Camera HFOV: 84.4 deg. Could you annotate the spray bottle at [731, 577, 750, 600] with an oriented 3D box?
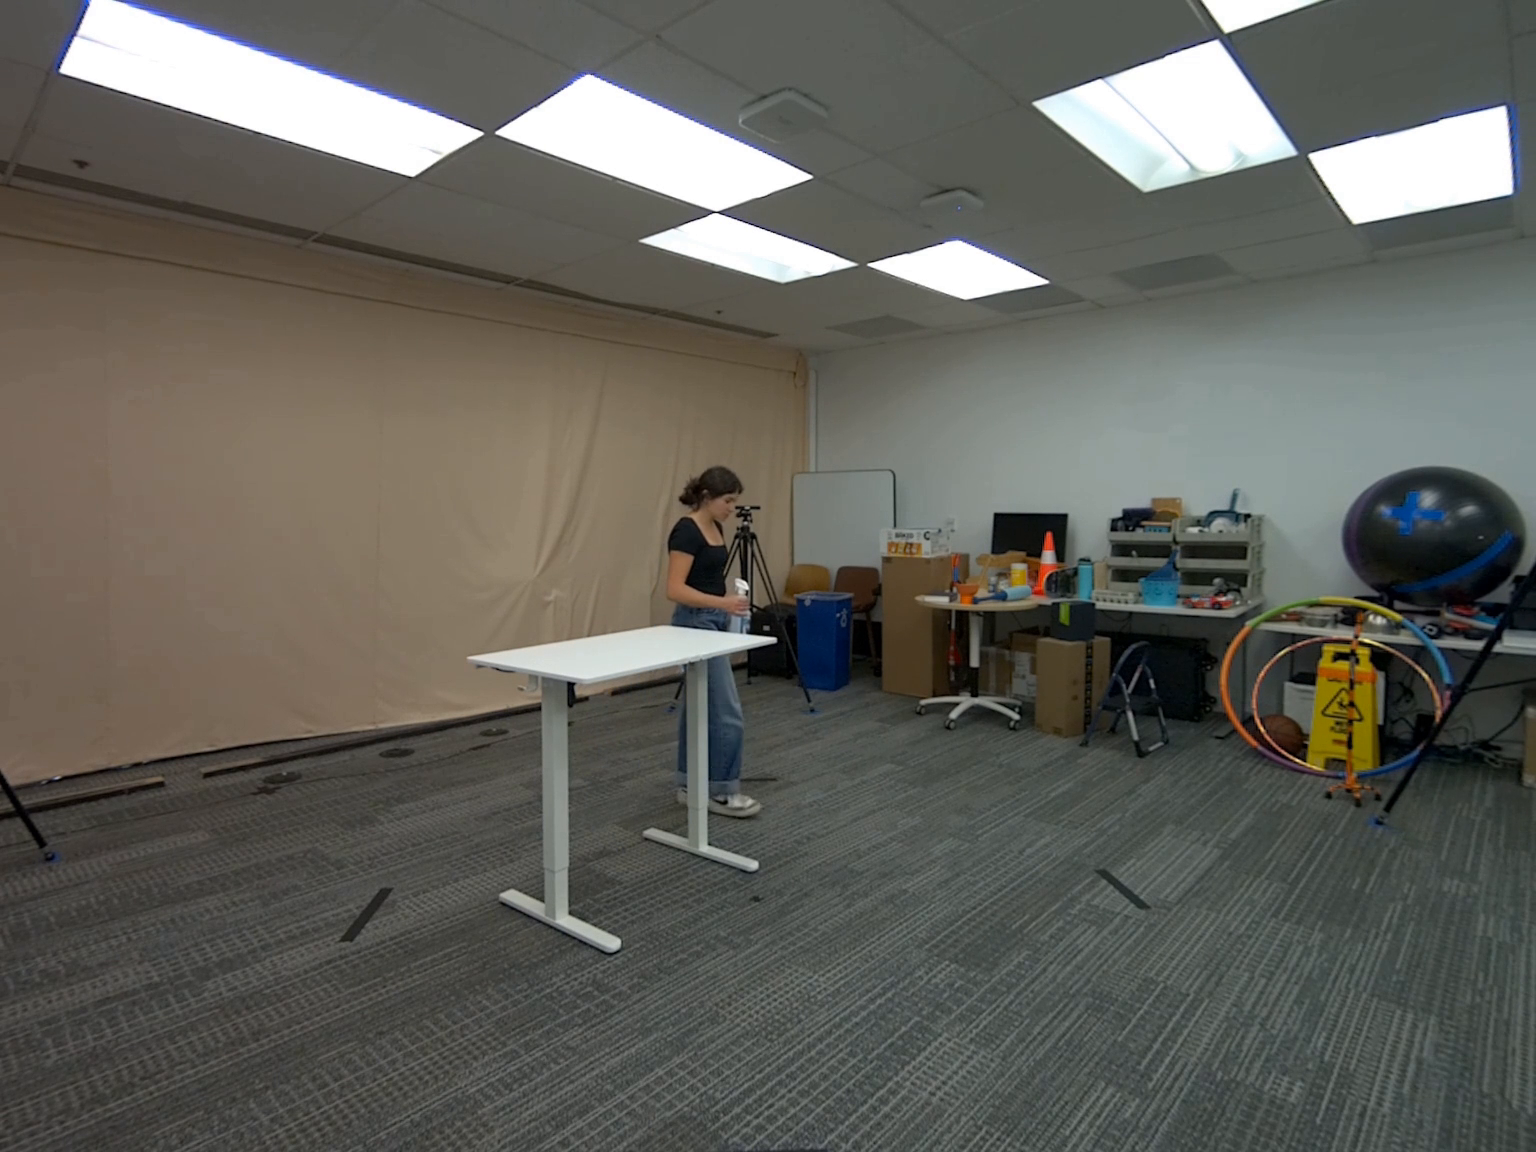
[{"bbox_3d":[-0.121,0.169,3.658,0.086,0.295,0.092,2,11,-12],"label":"spray bottle"}]
